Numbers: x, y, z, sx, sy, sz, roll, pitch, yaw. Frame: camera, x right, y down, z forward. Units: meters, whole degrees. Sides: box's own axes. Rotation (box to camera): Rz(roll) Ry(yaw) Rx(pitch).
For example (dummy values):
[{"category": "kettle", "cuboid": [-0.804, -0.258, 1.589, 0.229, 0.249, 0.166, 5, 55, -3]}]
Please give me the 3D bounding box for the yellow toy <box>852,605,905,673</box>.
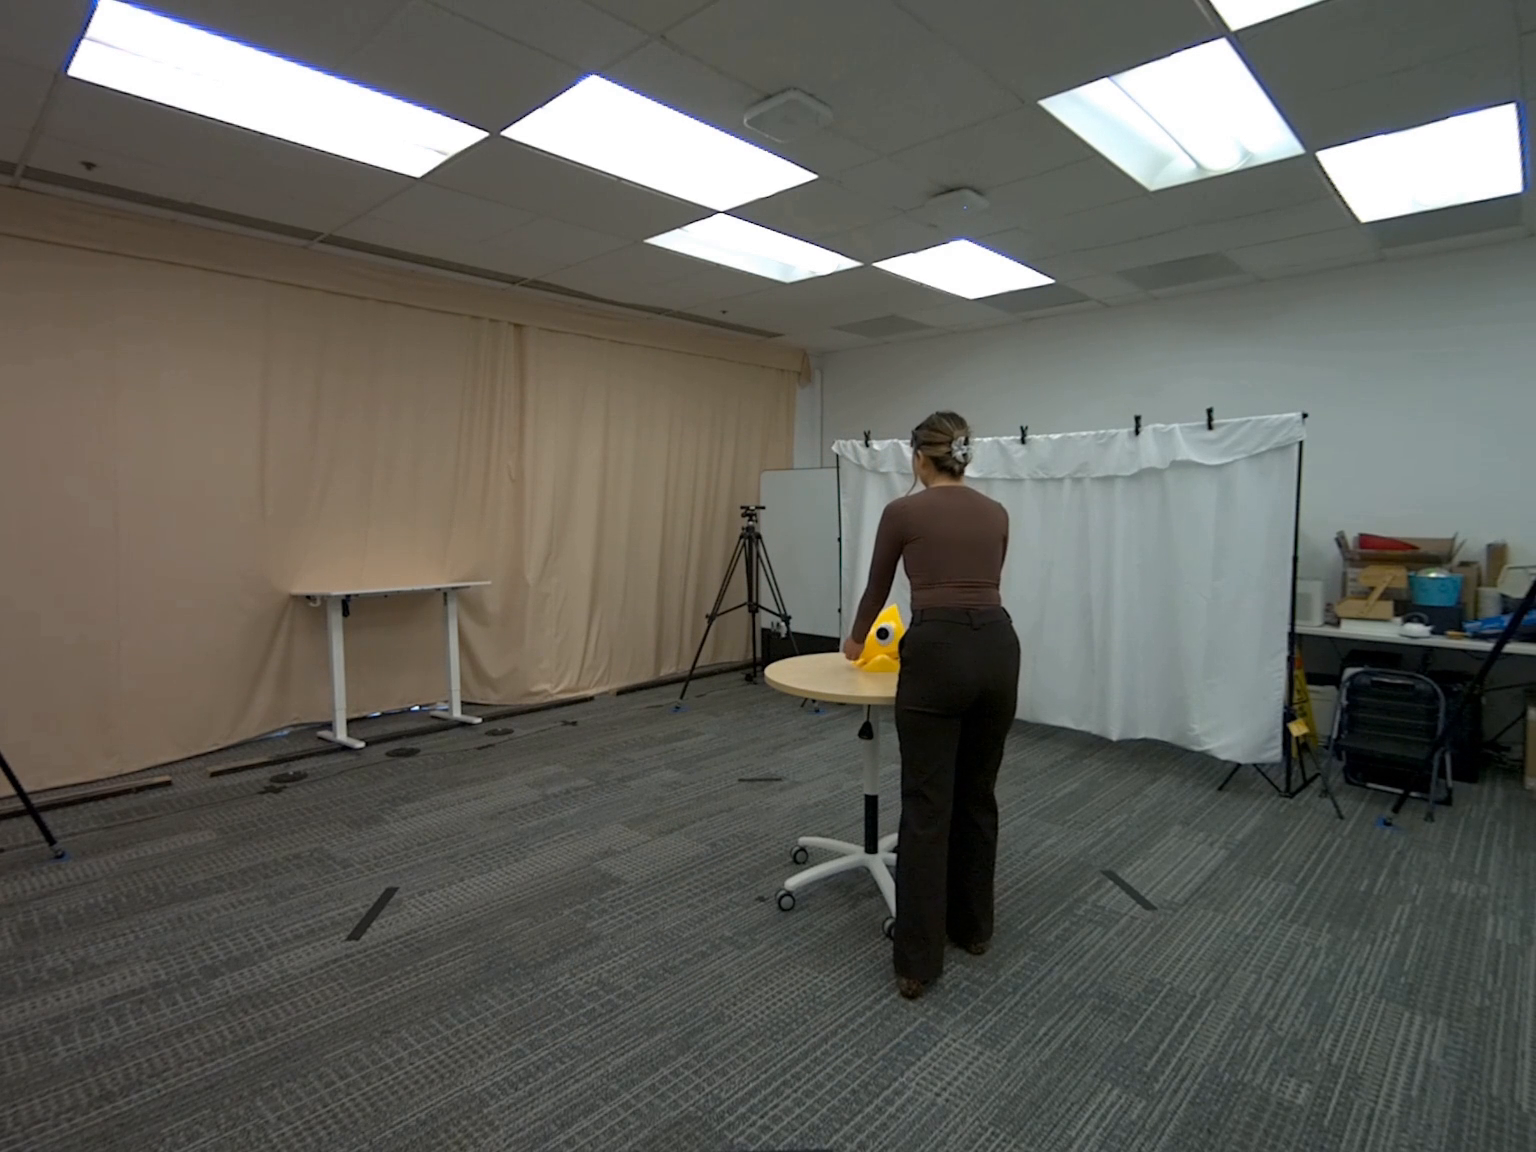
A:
[{"category": "yellow toy", "cuboid": [0.421, 0.218, 3.100, 0.192, 0.230, 0.207, -2, 3, -7]}]
